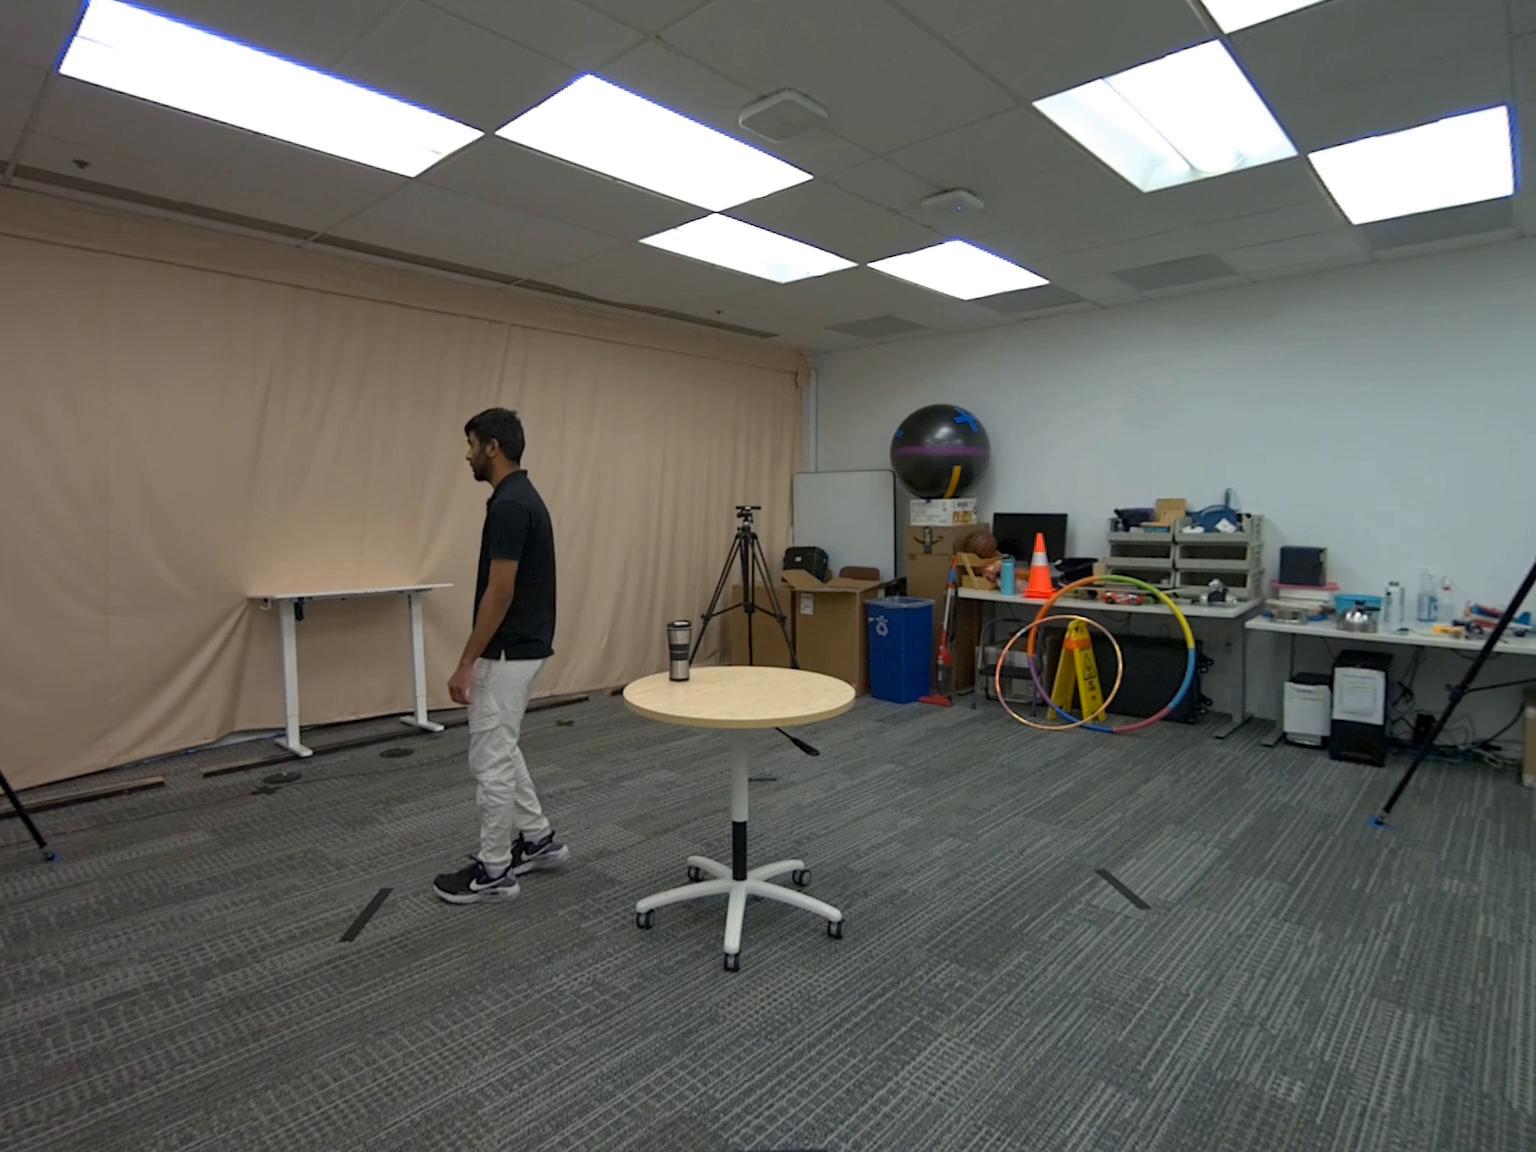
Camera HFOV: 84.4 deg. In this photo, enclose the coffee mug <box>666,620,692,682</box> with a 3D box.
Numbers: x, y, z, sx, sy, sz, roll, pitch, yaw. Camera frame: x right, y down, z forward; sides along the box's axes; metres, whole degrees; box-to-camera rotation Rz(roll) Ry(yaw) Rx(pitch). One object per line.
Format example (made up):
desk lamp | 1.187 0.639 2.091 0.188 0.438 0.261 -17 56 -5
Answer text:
coffee mug | -0.295 0.263 2.954 0.090 0.202 0.119 -2 6 26
